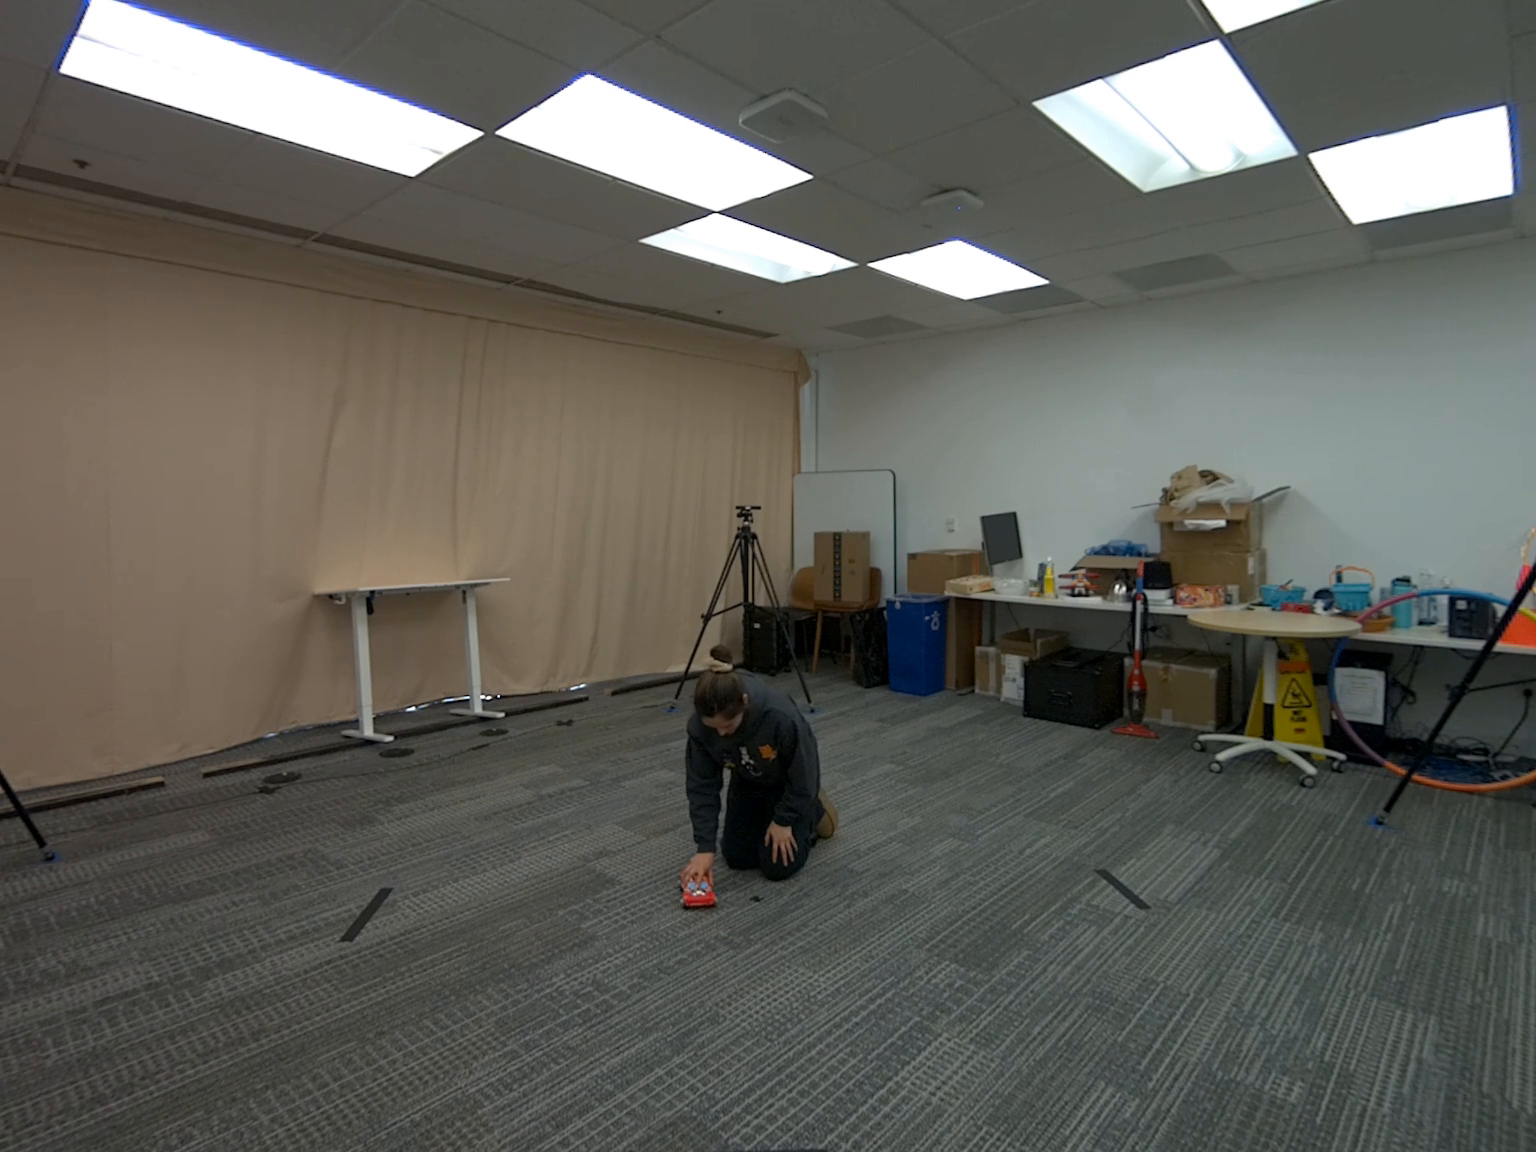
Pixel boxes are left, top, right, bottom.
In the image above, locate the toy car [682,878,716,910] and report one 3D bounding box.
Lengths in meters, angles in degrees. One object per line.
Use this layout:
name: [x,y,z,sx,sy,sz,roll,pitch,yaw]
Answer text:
toy car: [-0.229,1.109,3.022,0.129,0.082,0.258,-3,16,-7]
